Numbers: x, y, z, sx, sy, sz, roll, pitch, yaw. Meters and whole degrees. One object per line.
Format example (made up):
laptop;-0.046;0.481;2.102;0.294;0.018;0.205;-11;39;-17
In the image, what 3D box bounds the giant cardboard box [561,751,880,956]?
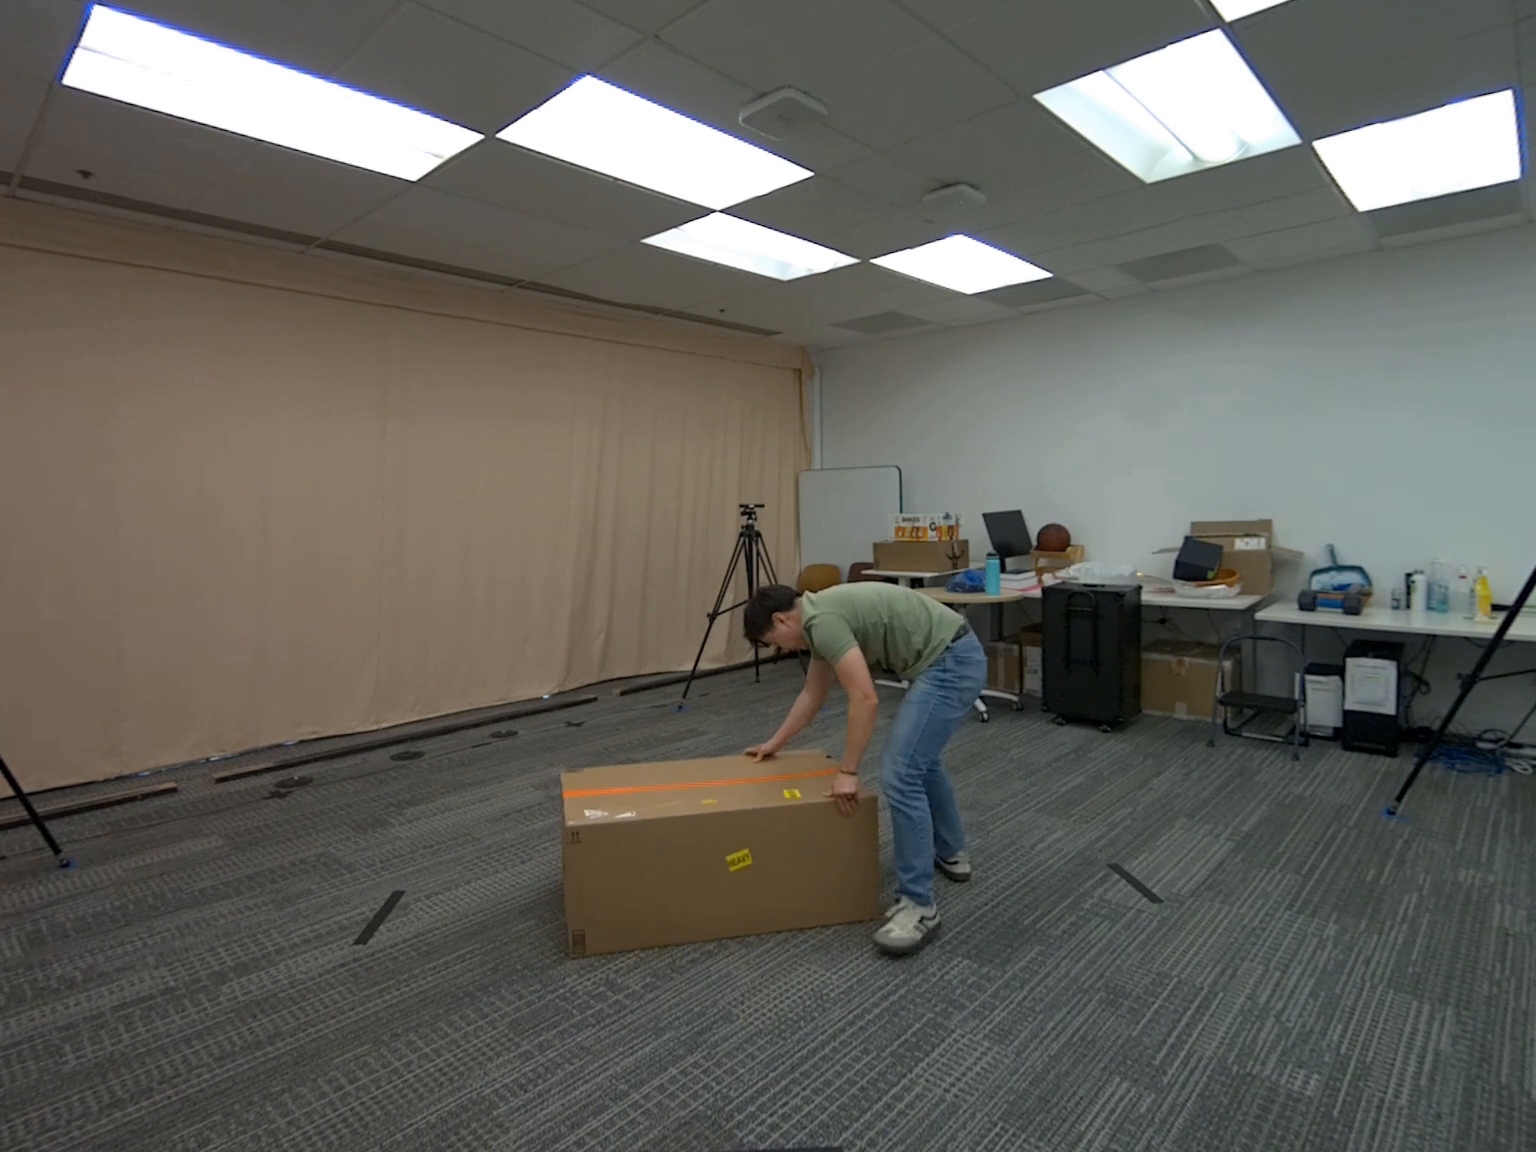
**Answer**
giant cardboard box;-0.203;0.929;2.974;1.013;0.425;0.587;-1;5;-12
